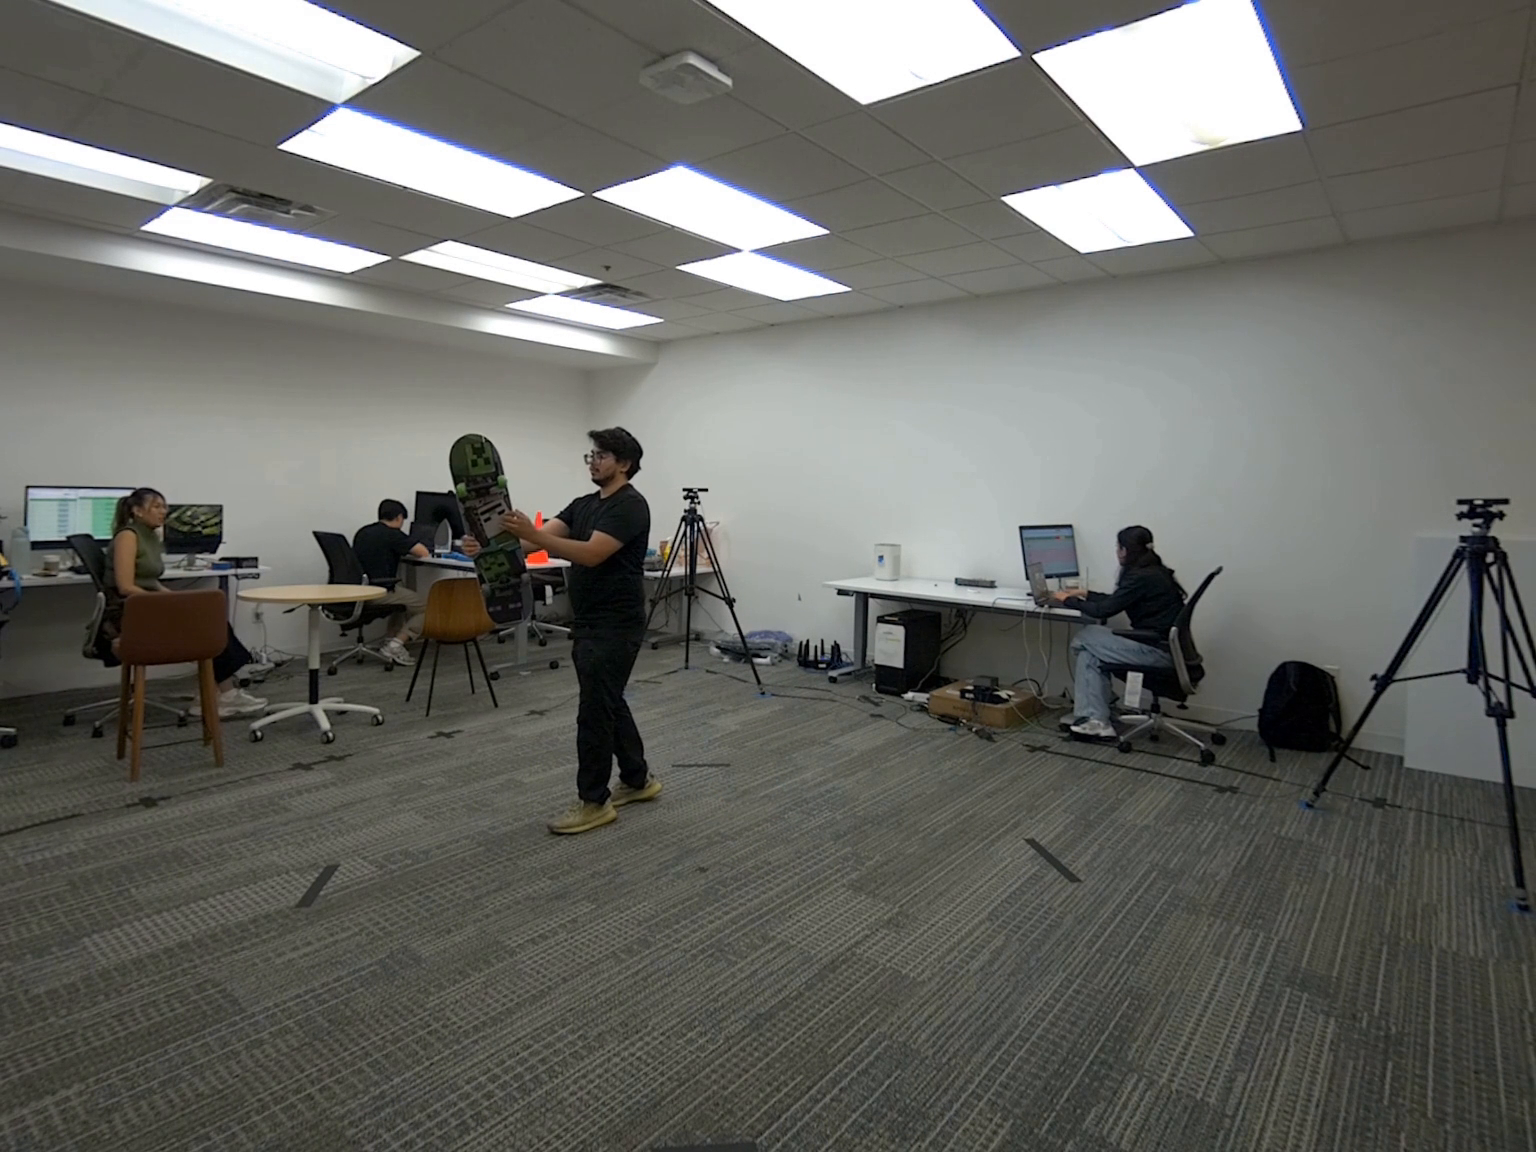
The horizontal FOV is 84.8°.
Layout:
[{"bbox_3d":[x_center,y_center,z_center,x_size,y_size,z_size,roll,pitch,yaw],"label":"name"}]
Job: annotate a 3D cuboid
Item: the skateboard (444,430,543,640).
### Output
[{"bbox_3d":[-1.070,-0.160,3.289,0.191,0.772,0.114,-14,16,-19],"label":"skateboard"}]
